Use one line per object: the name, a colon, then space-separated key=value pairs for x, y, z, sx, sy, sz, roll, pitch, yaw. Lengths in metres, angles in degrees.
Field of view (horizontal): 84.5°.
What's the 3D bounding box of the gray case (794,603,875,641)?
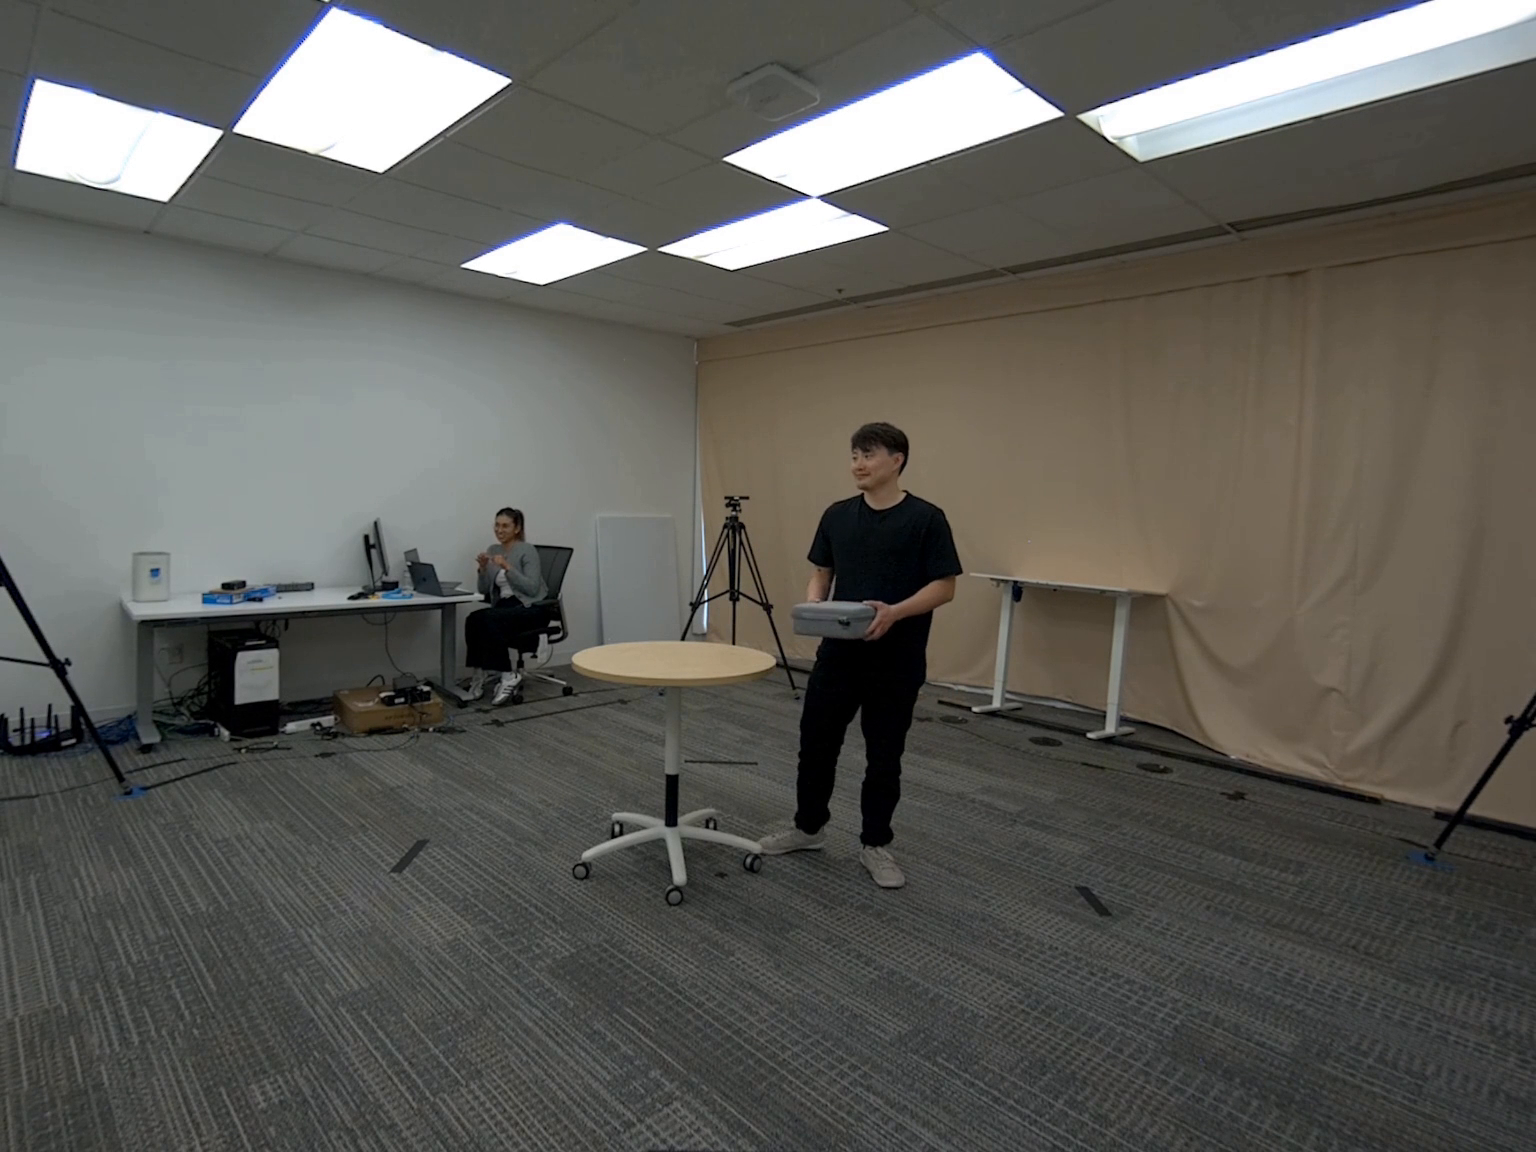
gray case: x=0.270 y=0.154 z=2.869 sx=0.263 sy=0.104 sz=0.255 roll=0 pitch=2 yaw=37
